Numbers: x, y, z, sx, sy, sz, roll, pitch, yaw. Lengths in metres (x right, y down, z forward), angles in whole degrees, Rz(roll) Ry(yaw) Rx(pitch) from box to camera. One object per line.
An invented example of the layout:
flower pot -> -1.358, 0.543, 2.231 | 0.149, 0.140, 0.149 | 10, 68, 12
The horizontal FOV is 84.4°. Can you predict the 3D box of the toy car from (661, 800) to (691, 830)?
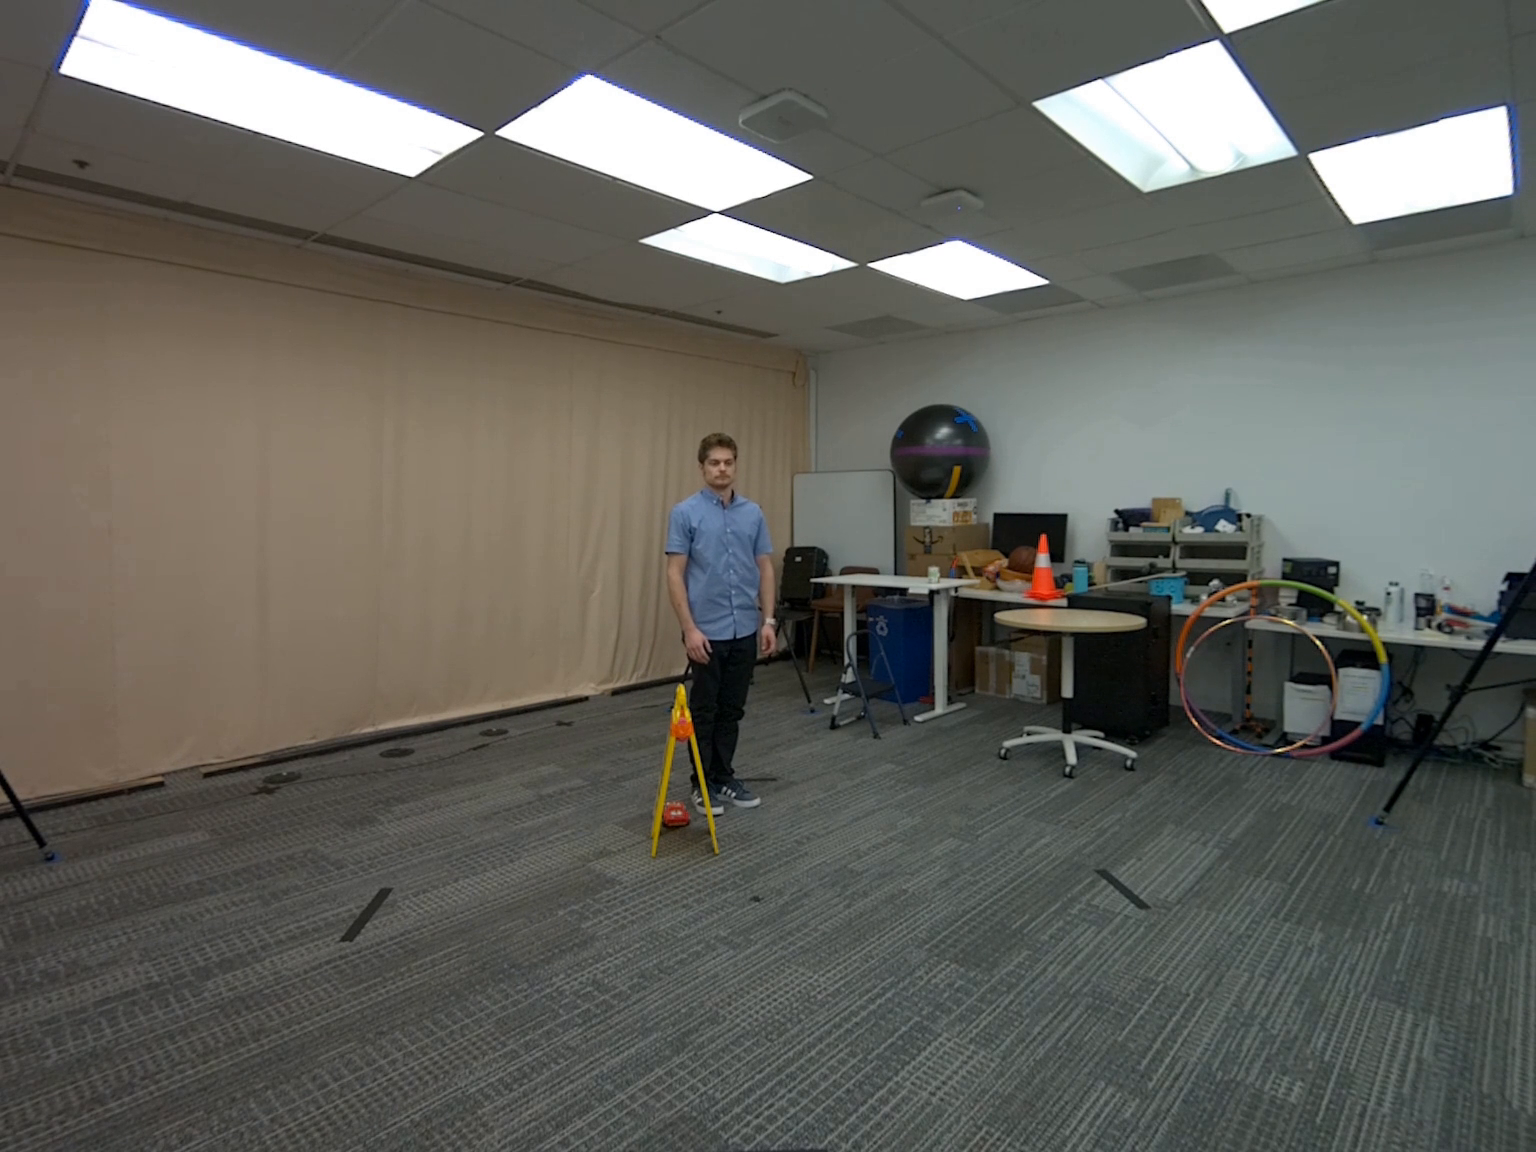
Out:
toy car -> -0.414, 1.054, 3.726 | 0.129, 0.083, 0.256 | 0, -7, -11
